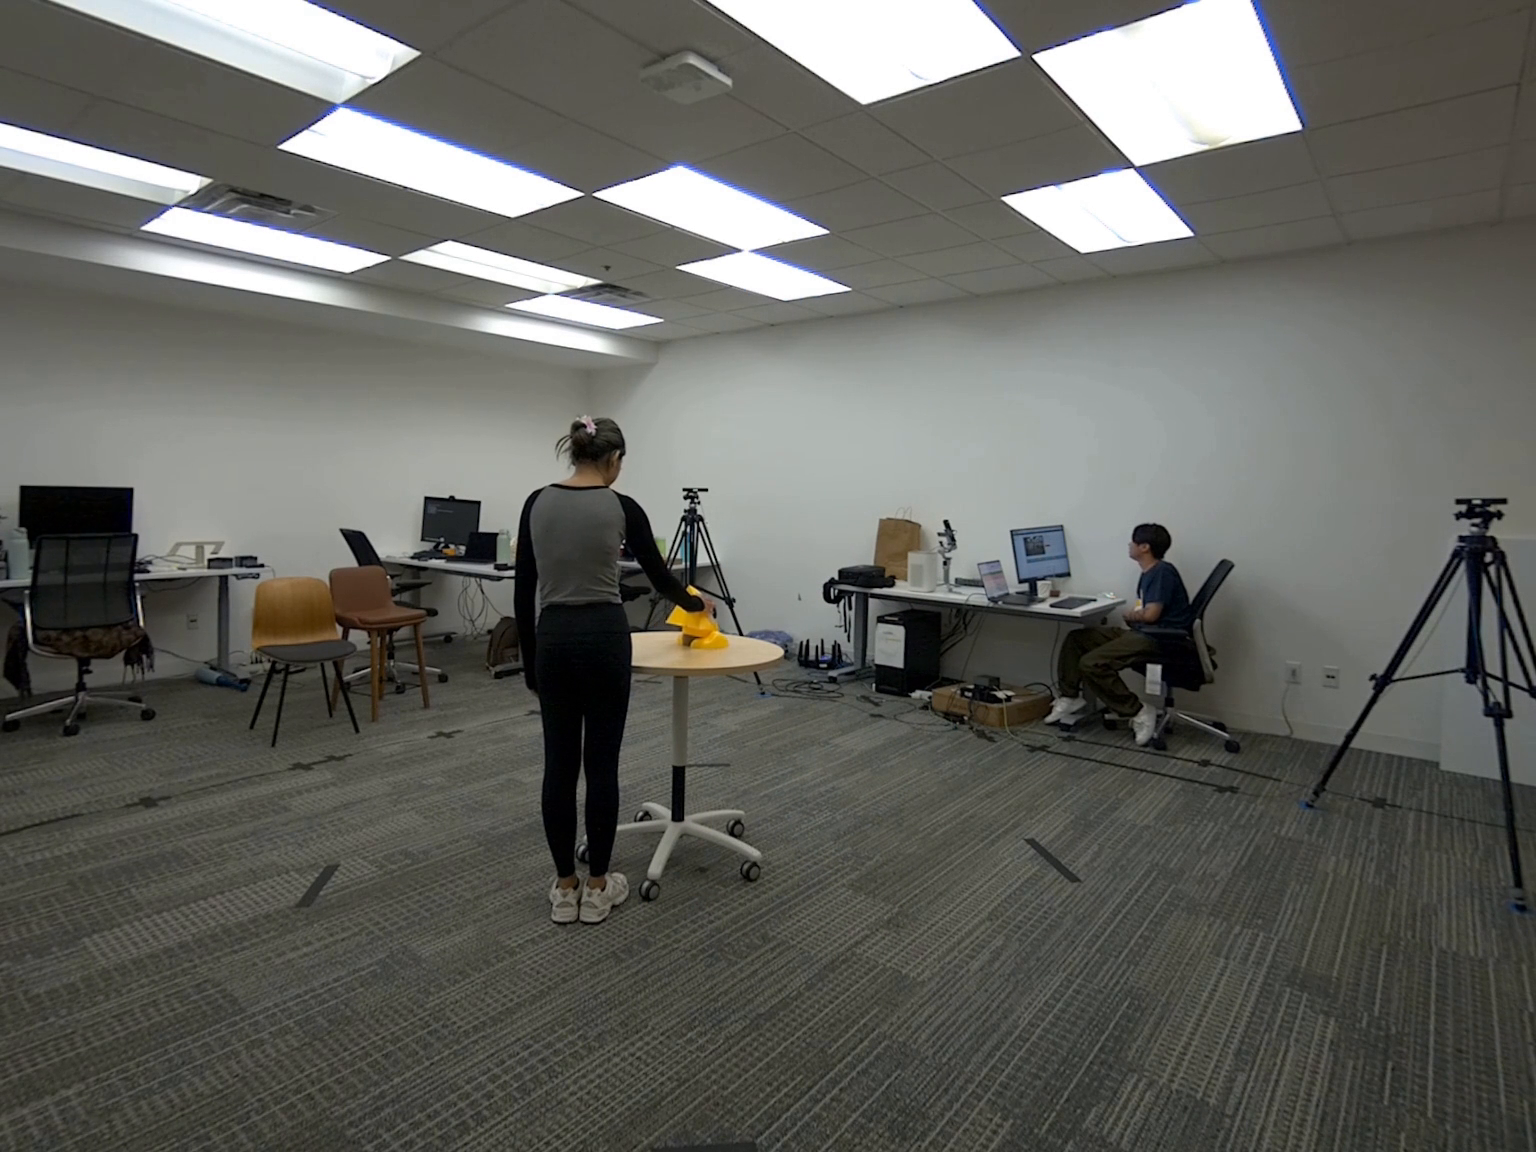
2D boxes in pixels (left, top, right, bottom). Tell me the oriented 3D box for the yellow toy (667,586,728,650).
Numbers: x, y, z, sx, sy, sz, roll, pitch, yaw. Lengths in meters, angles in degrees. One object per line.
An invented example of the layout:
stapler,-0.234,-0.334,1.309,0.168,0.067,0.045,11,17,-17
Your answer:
yellow toy,-0.271,0.146,3.271,0.187,0.230,0.212,-2,4,-44
